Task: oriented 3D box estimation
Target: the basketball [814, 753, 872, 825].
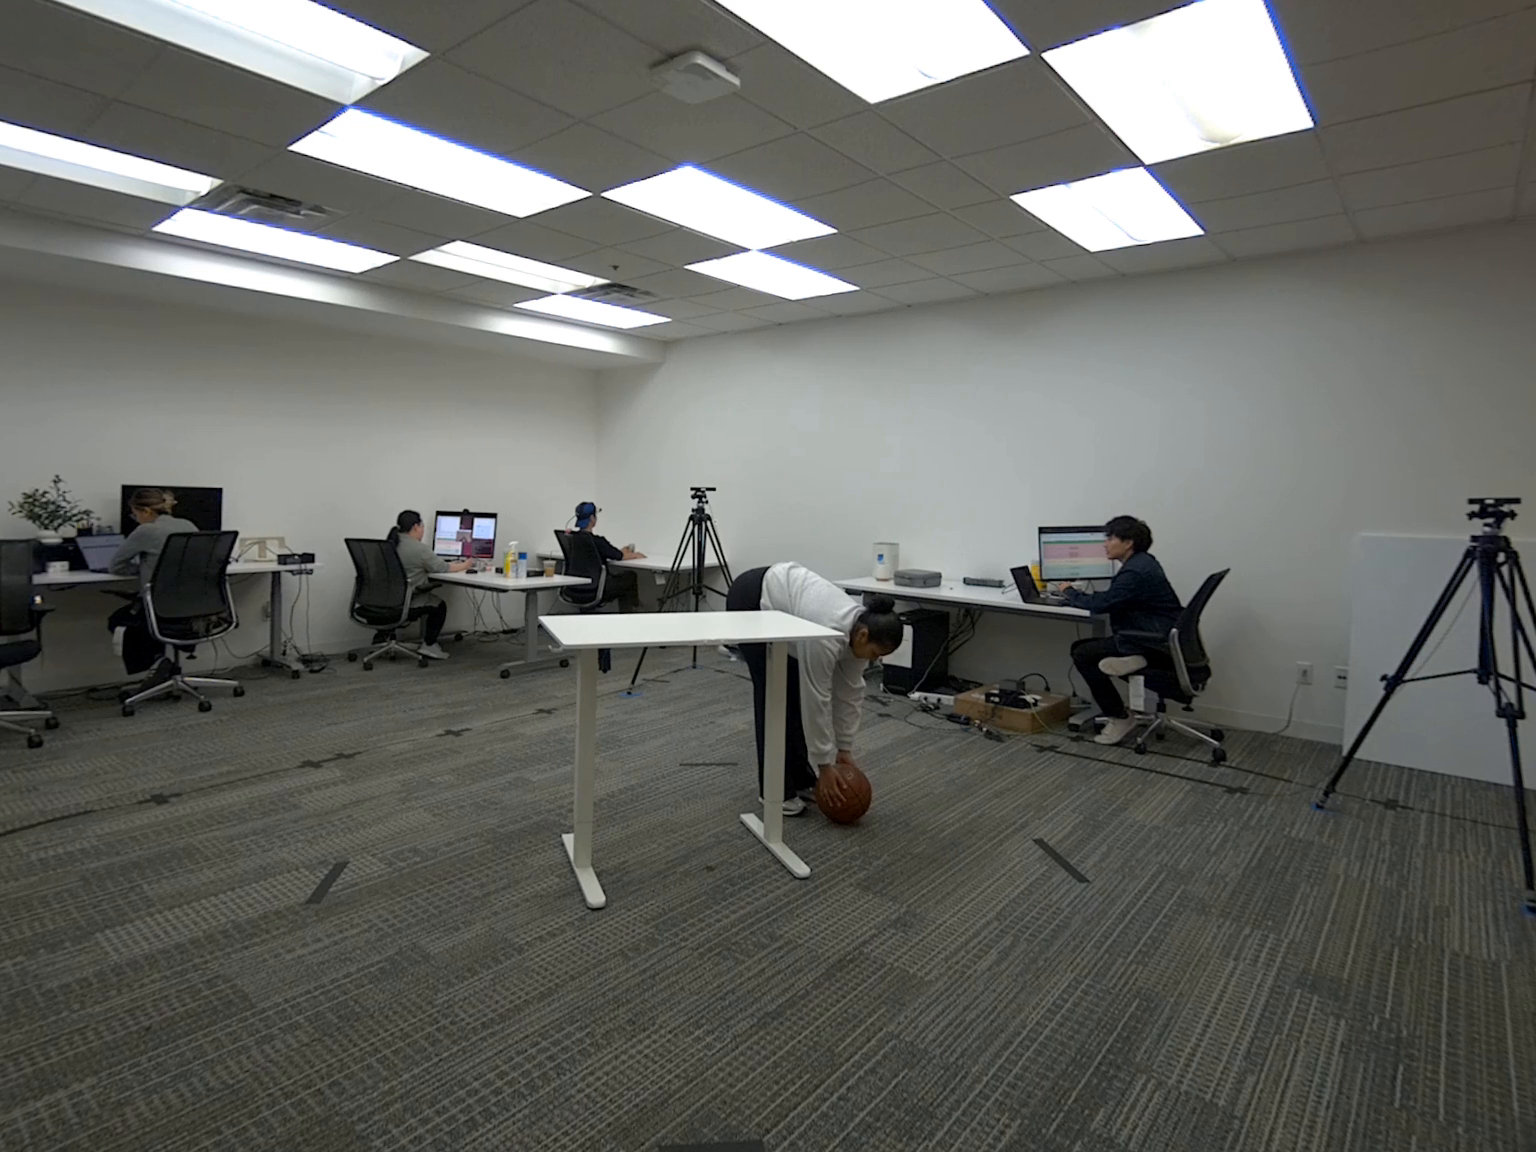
[{"bbox_3d":[0.307,0.904,3.589,0.235,0.235,0.237,1,4,-2],"label":"basketball"}]
